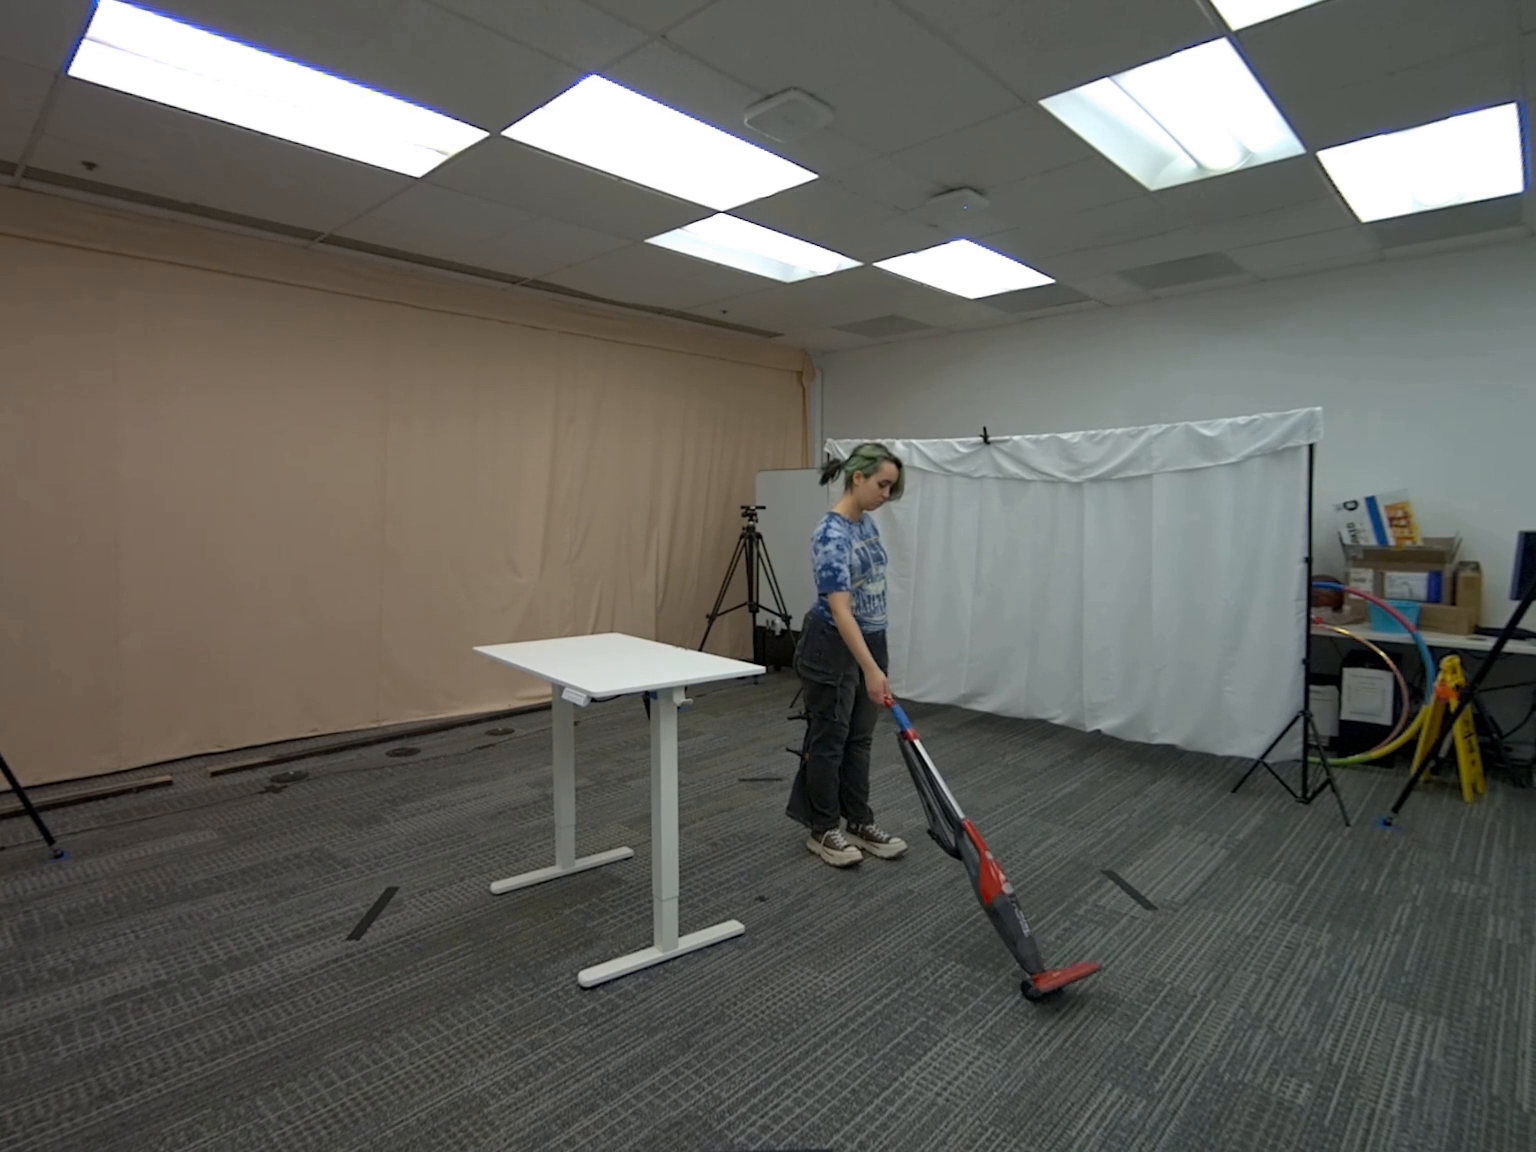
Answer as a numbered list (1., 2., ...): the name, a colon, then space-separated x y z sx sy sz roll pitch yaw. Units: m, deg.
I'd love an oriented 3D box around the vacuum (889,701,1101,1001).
1. vacuum: 0.605 0.802 2.692 0.245 0.143 1.083 1 40 -33
